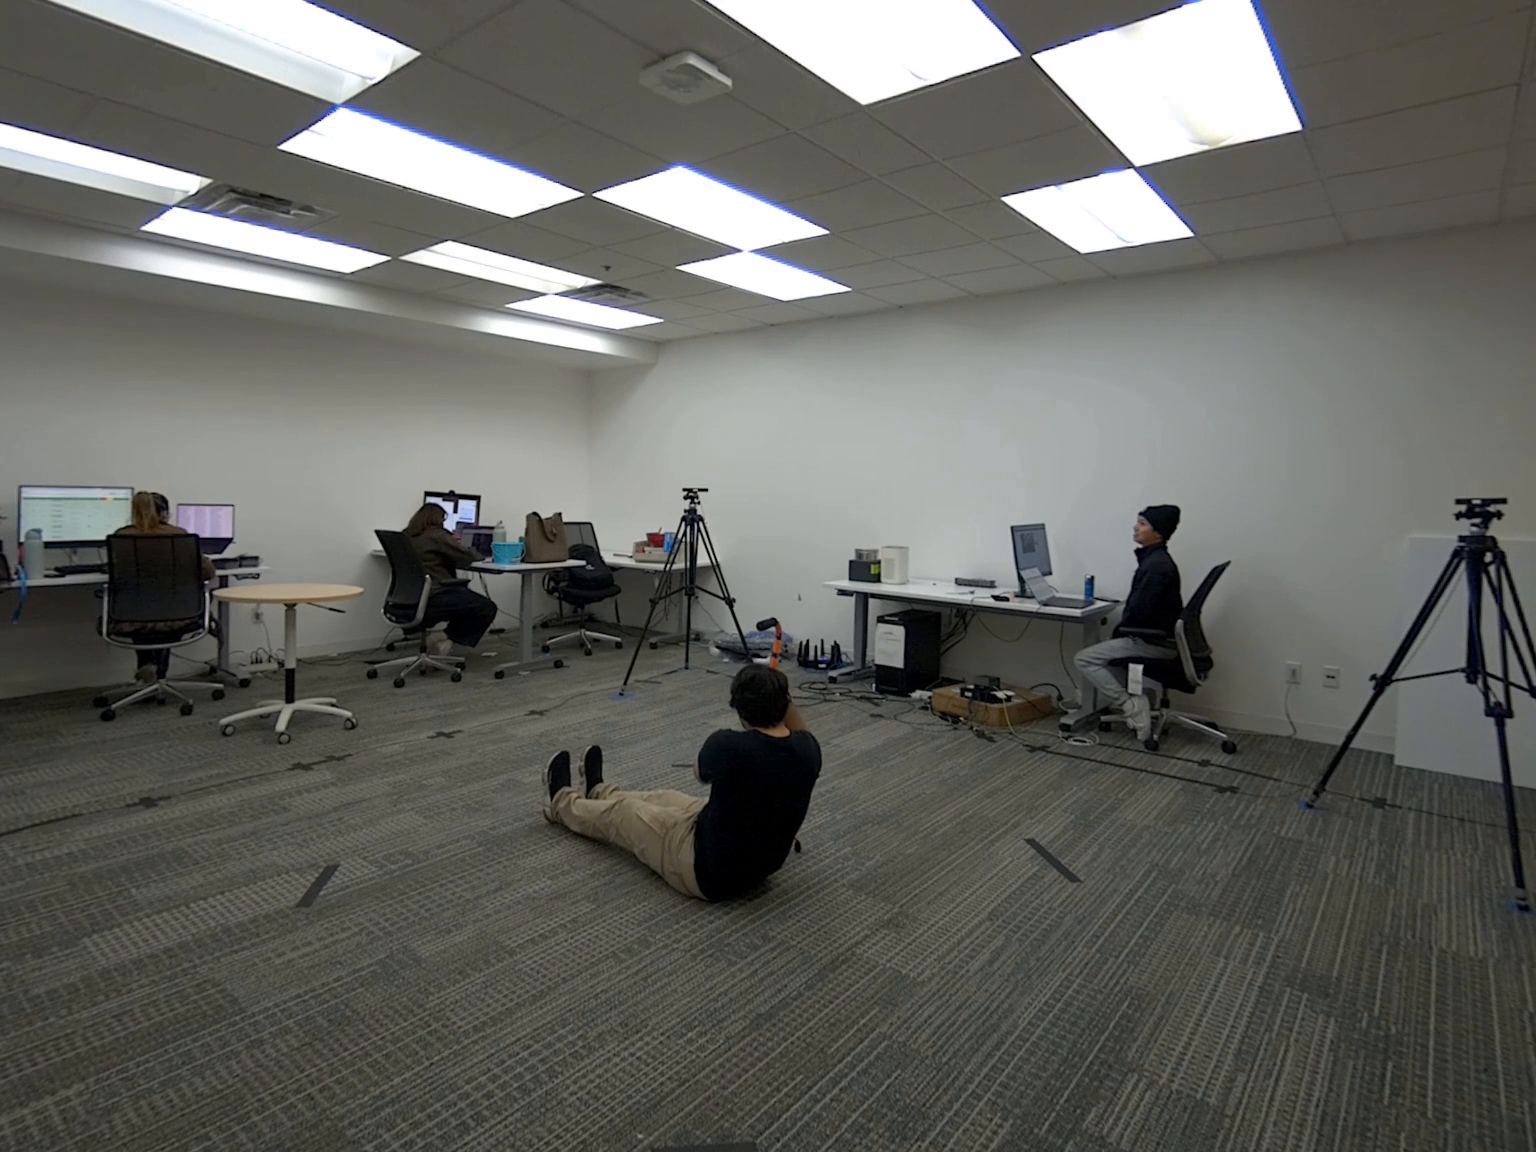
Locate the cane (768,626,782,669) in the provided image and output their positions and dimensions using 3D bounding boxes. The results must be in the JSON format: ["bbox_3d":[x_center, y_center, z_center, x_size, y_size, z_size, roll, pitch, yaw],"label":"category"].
[{"bbox_3d":[0.020,0.606,3.200,0.156,0.903,0.201,4,6,29],"label":"cane"}]
